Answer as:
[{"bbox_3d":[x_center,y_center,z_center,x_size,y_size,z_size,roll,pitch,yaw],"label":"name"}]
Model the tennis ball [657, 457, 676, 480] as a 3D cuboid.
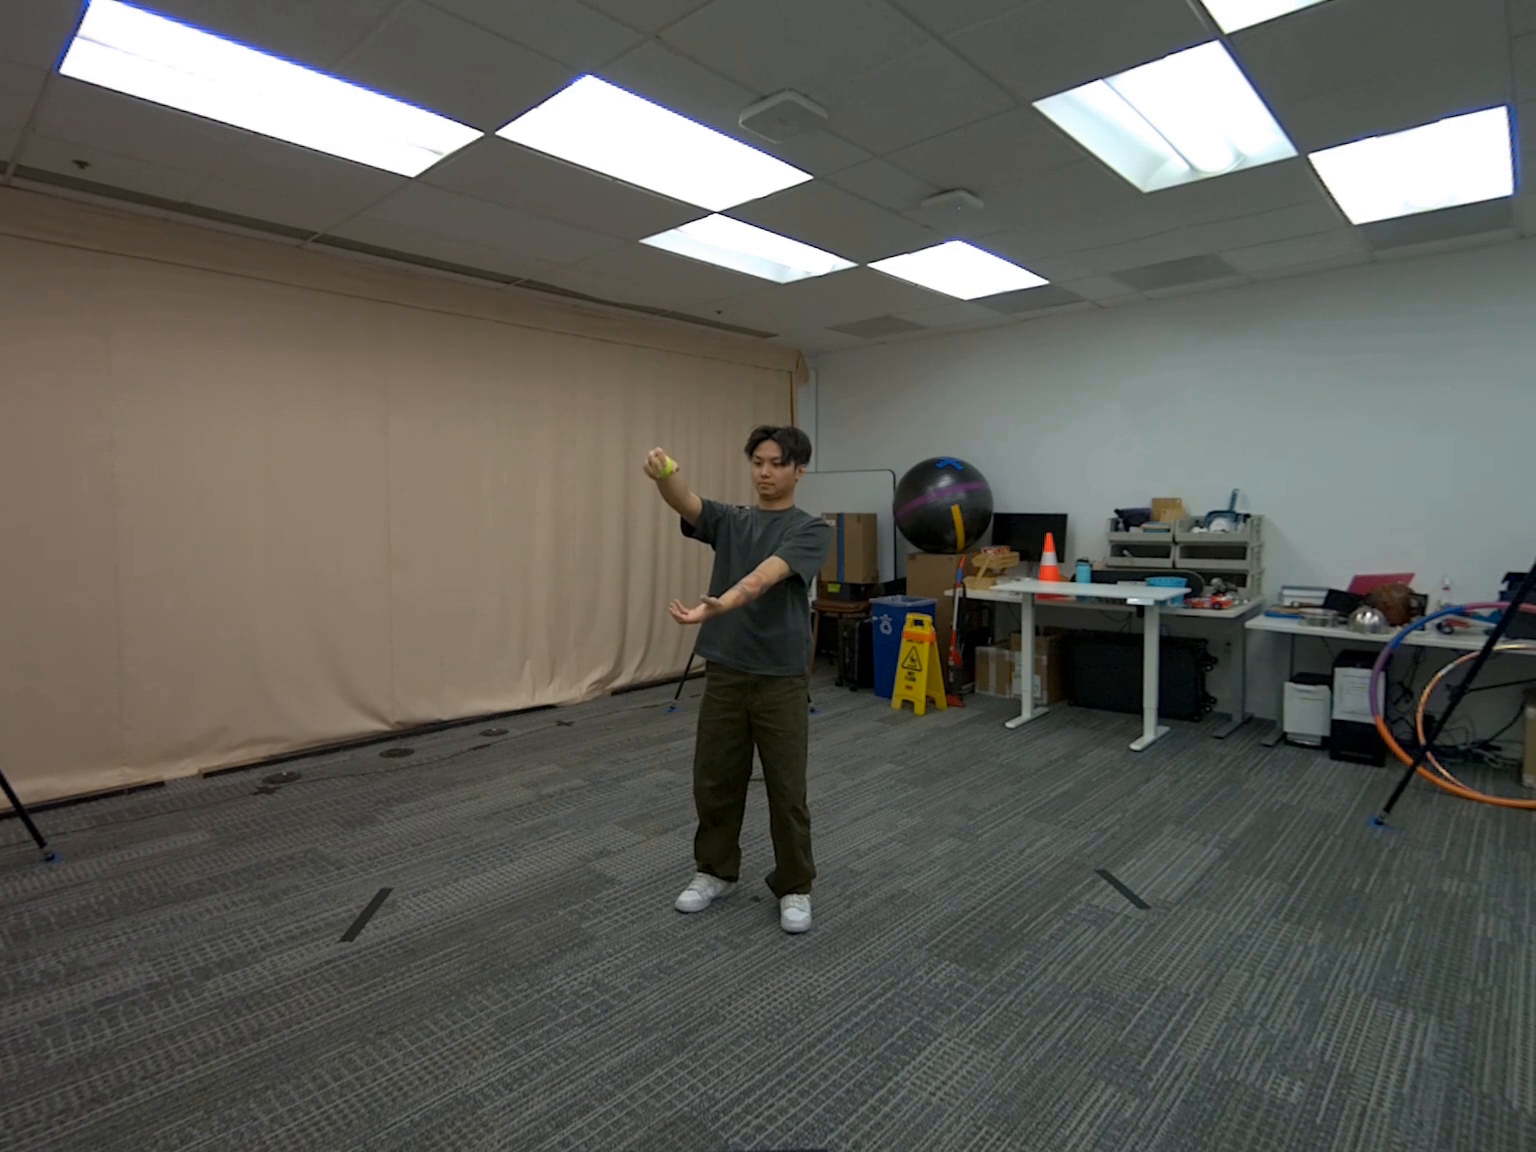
[{"bbox_3d":[-0.329,-0.314,2.466,0.066,0.066,0.067,0,4,-2],"label":"tennis ball"}]
